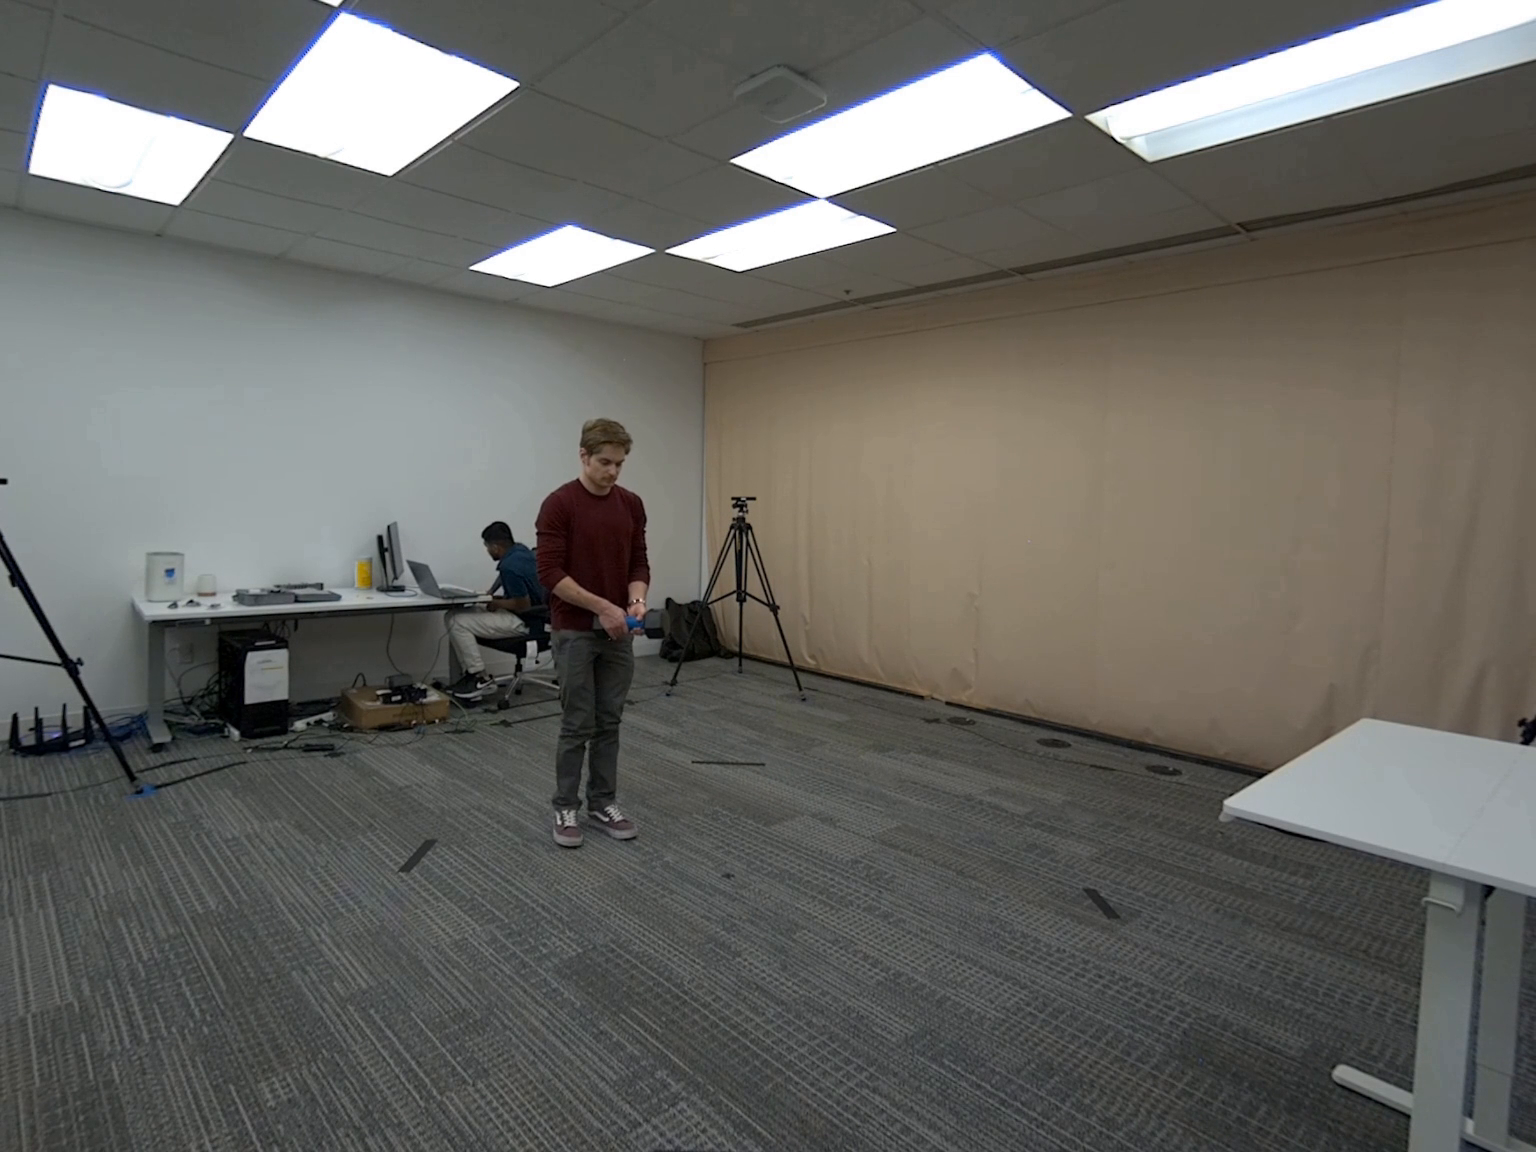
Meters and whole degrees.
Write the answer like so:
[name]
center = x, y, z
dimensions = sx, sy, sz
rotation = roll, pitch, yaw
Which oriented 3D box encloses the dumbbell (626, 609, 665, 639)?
[dumbbell]
center = -0.570, 0.189, 3.310
dimensions = 0.296, 0.120, 0.111
rotation = -3, 43, 11
